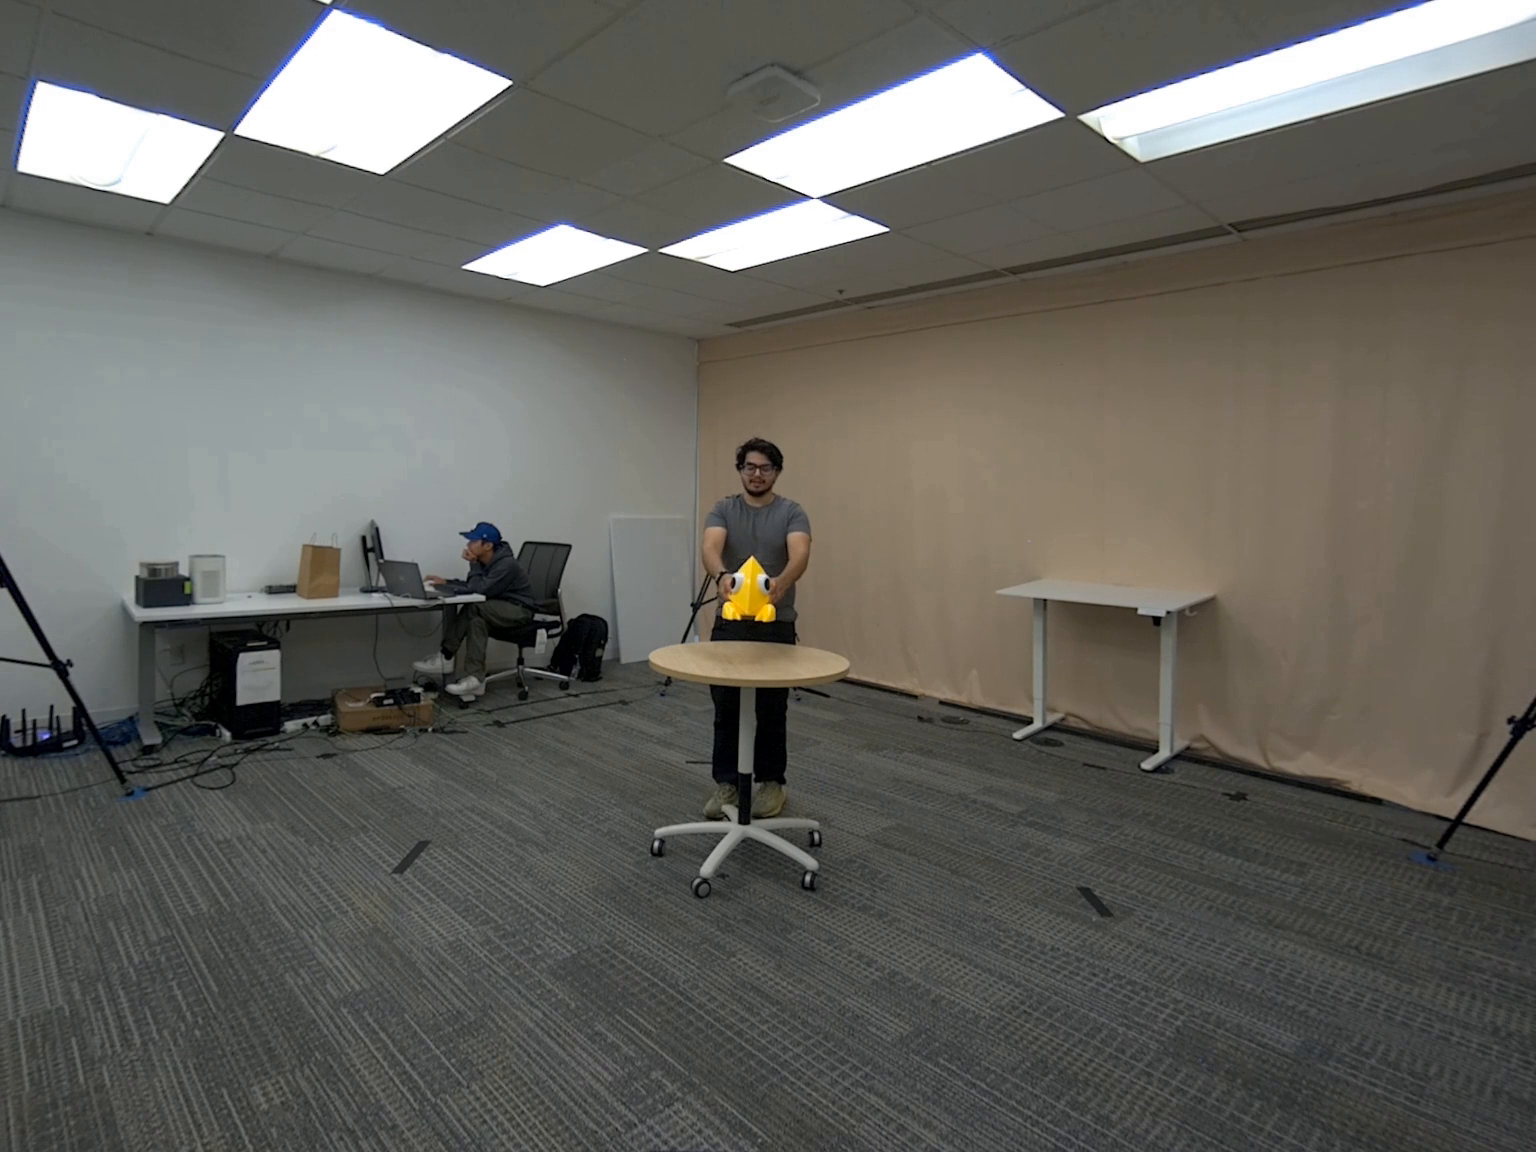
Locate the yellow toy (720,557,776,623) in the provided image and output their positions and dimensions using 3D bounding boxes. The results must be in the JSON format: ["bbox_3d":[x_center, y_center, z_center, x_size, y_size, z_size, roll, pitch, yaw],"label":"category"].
[{"bbox_3d":[-0.082,0.044,3.181,0.205,0.230,0.193,2,3,2],"label":"yellow toy"}]
